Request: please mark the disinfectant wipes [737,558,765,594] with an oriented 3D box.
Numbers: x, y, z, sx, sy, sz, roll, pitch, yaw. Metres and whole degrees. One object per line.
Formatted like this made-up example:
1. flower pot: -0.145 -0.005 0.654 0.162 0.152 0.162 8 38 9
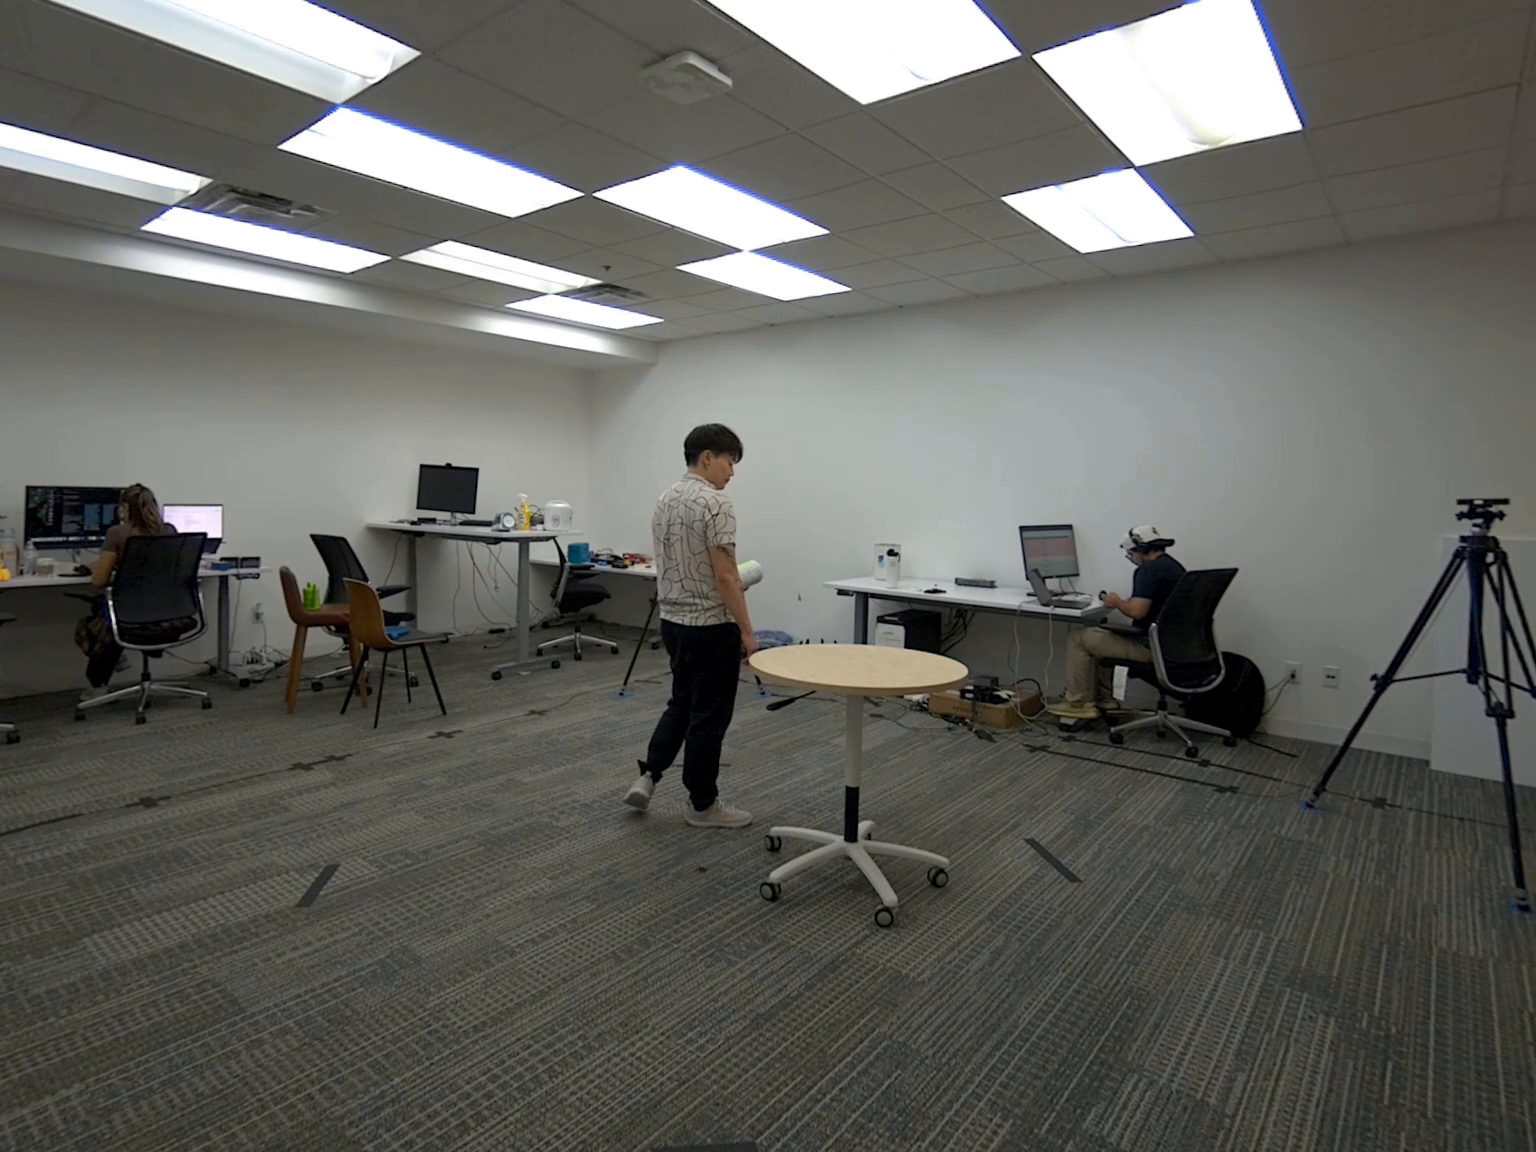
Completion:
1. disinfectant wipes: -0.127 0.002 3.733 0.121 0.116 0.213 3 14 33
